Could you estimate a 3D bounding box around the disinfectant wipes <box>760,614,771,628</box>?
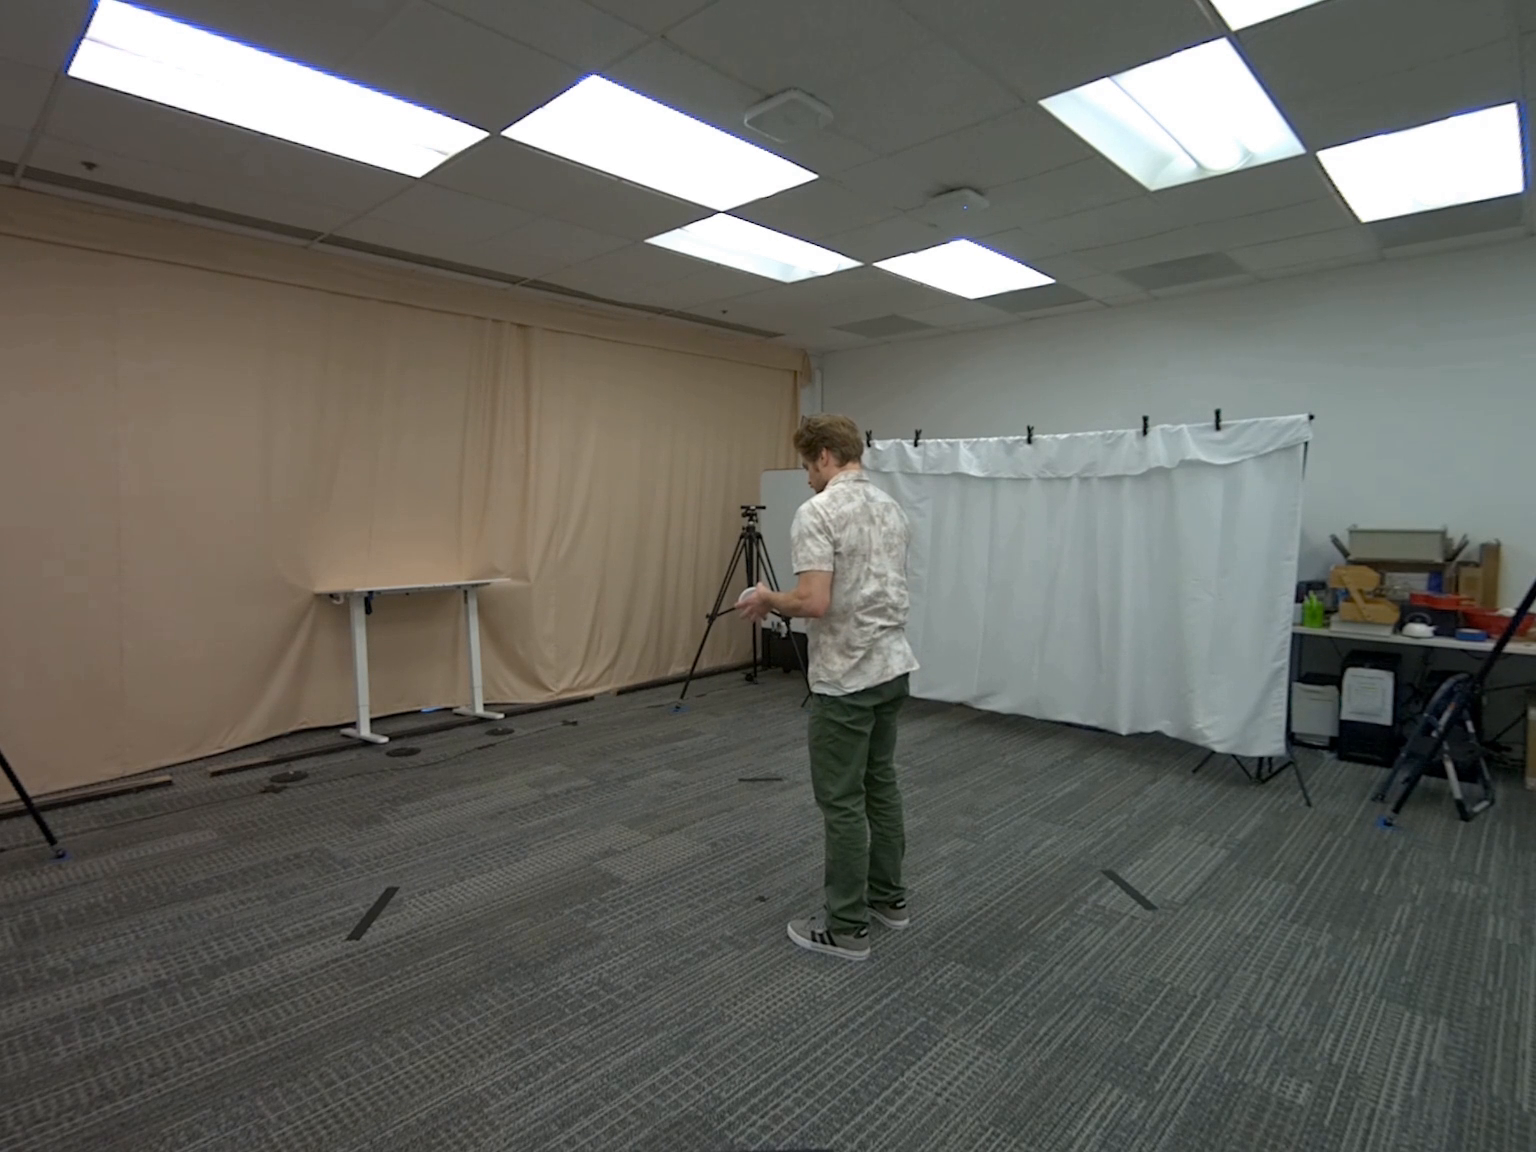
[{"bbox_3d":[-0.044,0.091,2.922,0.119,0.118,0.215,1,-3,7],"label":"disinfectant wipes"}]
